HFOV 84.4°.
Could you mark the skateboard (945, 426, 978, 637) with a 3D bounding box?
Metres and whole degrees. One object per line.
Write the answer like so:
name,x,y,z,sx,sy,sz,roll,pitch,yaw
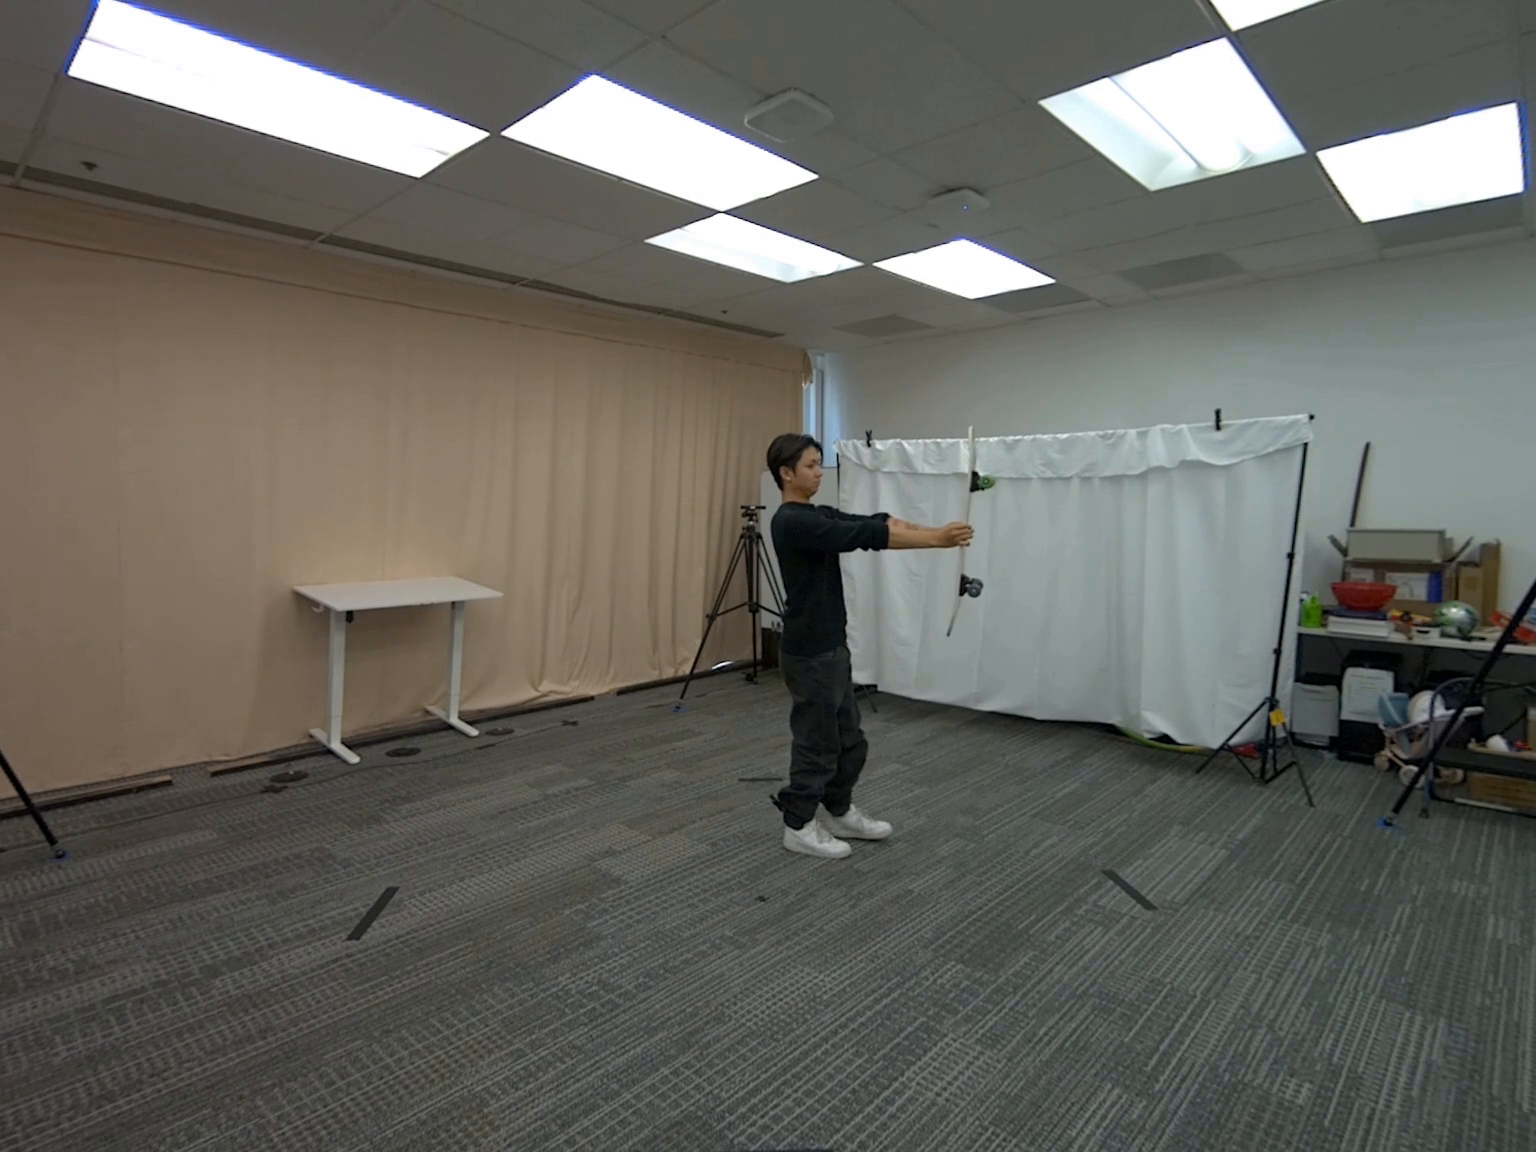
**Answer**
skateboard,0.771,-0.153,3.144,0.113,0.783,0.190,7,7,19
